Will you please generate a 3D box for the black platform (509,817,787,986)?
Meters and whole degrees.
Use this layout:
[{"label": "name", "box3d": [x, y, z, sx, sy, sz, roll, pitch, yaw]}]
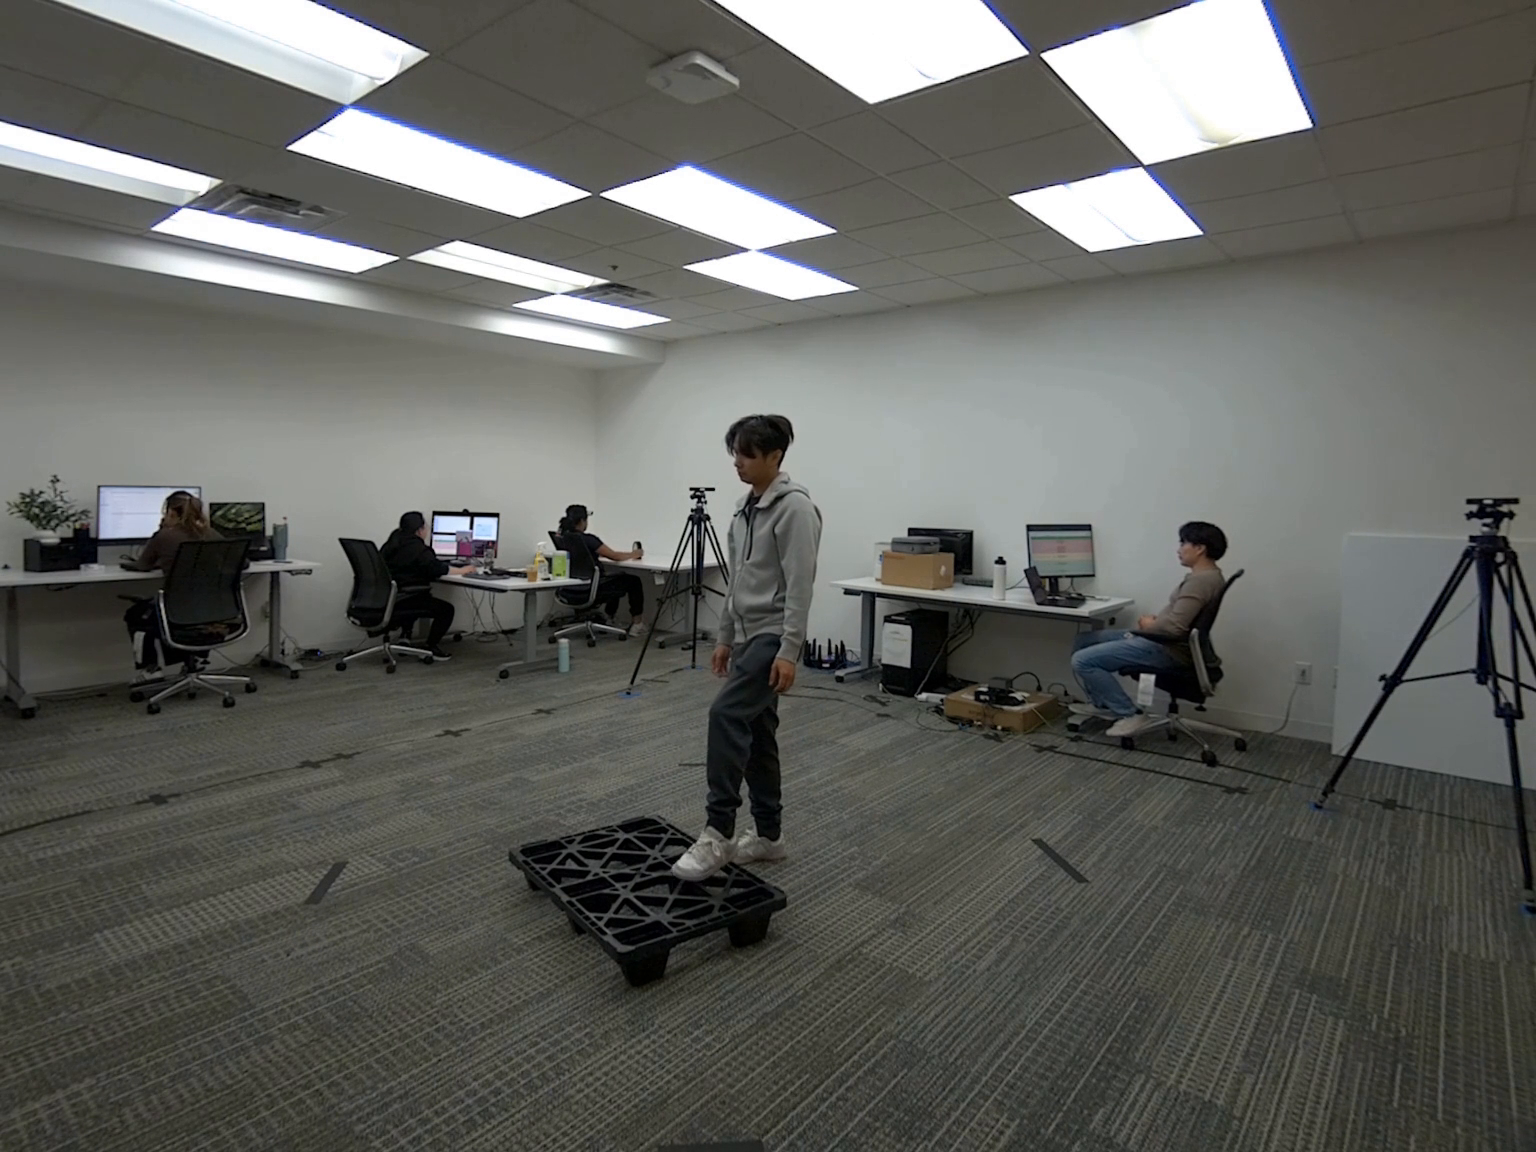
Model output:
[{"label": "black platform", "box3d": [-0.426, 1.027, 2.791, 0.587, 0.143, 0.833, -3, 7, -37]}]
